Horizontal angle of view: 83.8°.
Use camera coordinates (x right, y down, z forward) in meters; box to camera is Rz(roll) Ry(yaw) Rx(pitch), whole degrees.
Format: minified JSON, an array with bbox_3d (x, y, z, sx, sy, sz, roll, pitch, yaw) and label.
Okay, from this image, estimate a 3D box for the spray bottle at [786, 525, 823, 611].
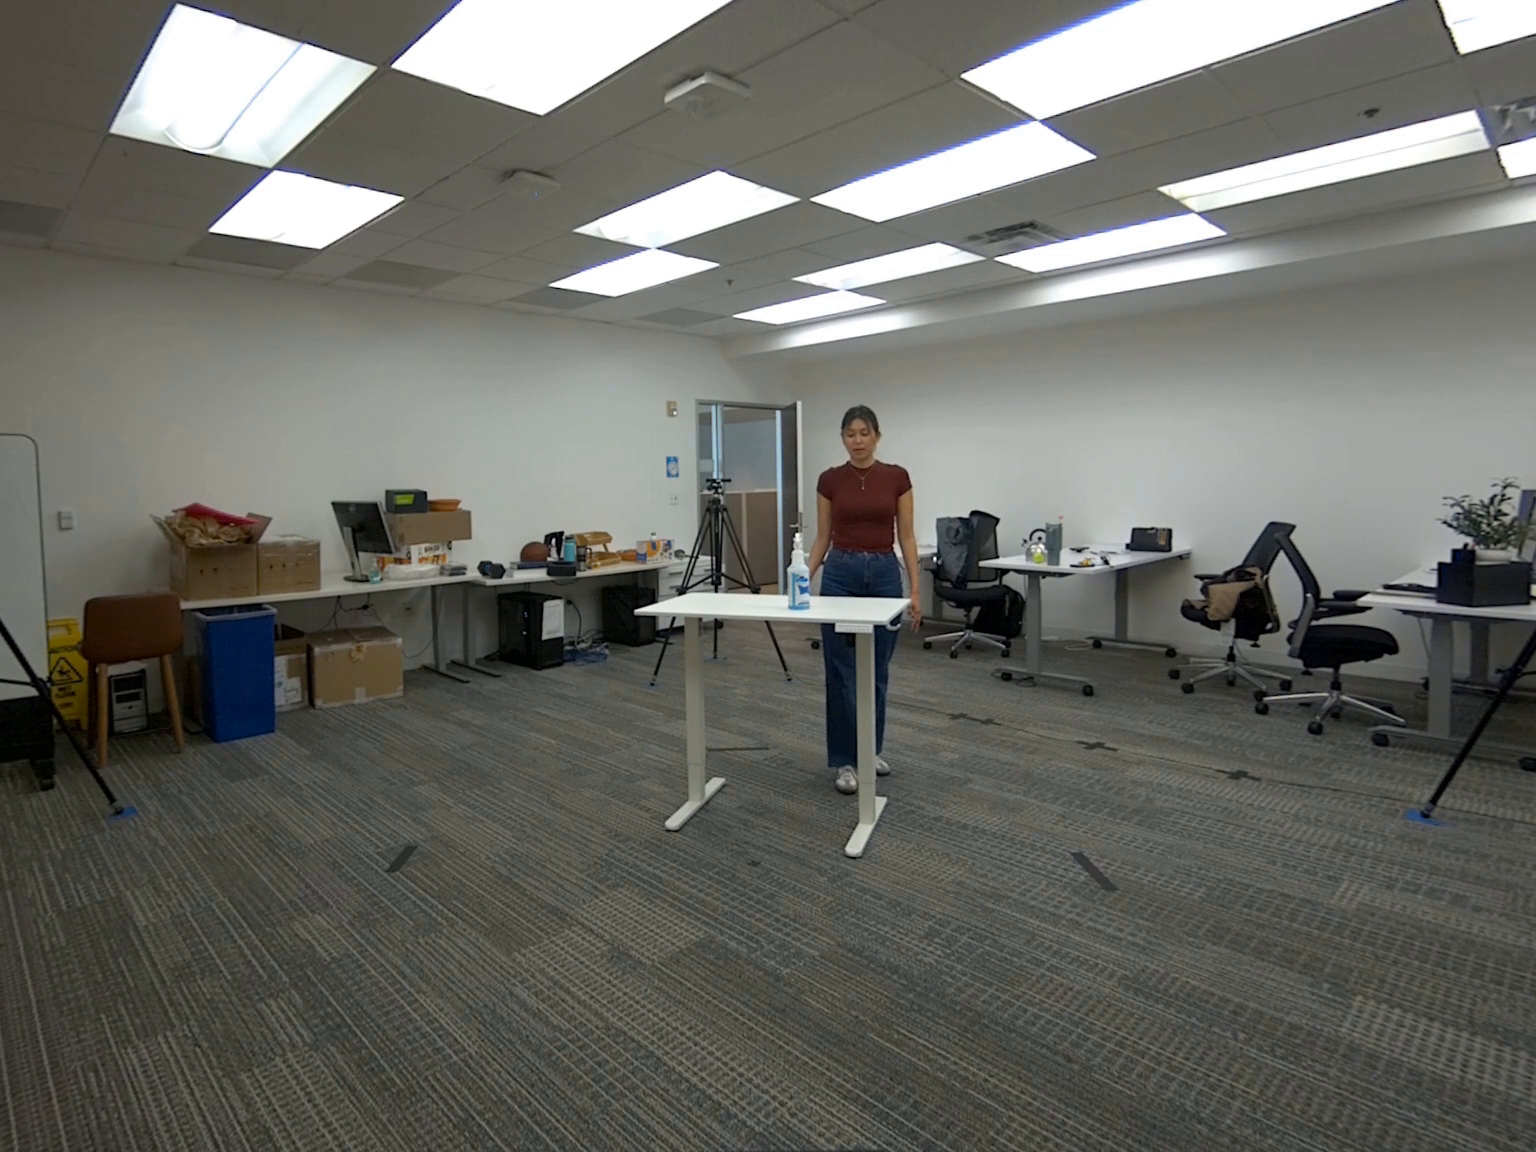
[{"bbox_3d":[0.124,-0.016,3.375,0.089,0.297,0.088,1,2,27],"label":"spray bottle"}]
